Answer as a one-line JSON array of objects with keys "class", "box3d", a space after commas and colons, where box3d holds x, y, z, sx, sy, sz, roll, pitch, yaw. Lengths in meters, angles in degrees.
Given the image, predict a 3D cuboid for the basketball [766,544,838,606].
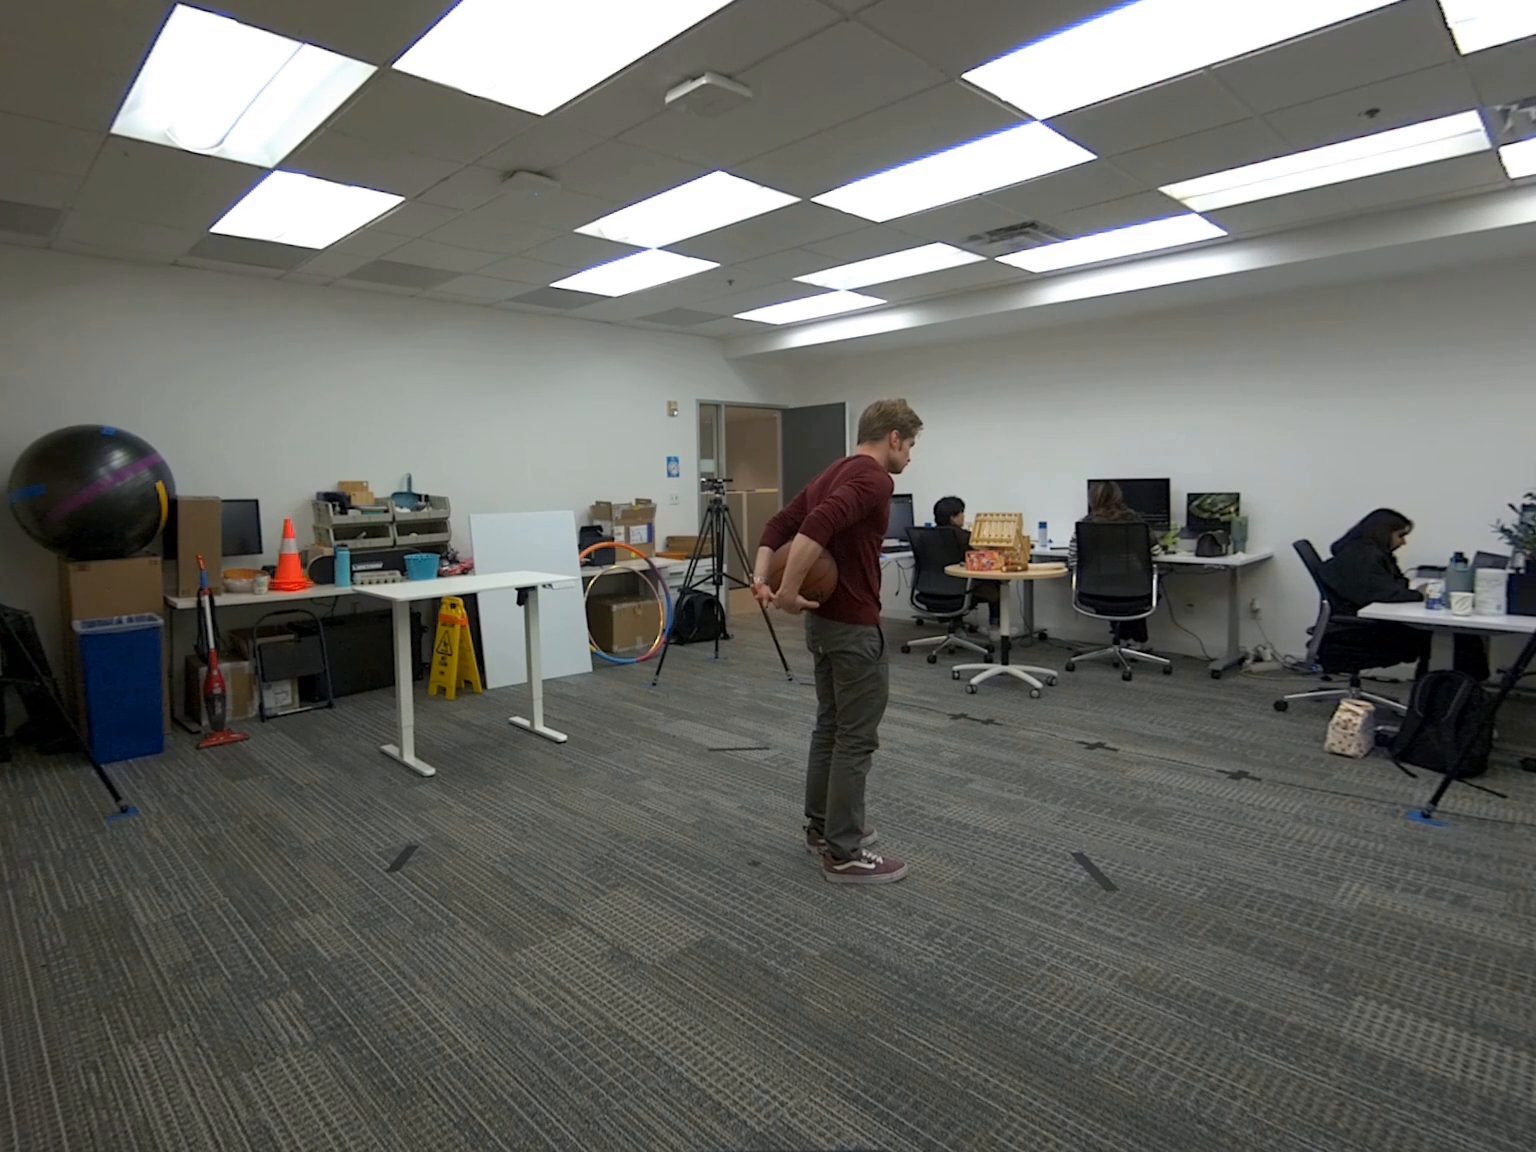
[{"class": "basketball", "box3d": [0.115, -0.008, 2.915, 0.236, 0.235, 0.237, -1, 5, -2]}]
